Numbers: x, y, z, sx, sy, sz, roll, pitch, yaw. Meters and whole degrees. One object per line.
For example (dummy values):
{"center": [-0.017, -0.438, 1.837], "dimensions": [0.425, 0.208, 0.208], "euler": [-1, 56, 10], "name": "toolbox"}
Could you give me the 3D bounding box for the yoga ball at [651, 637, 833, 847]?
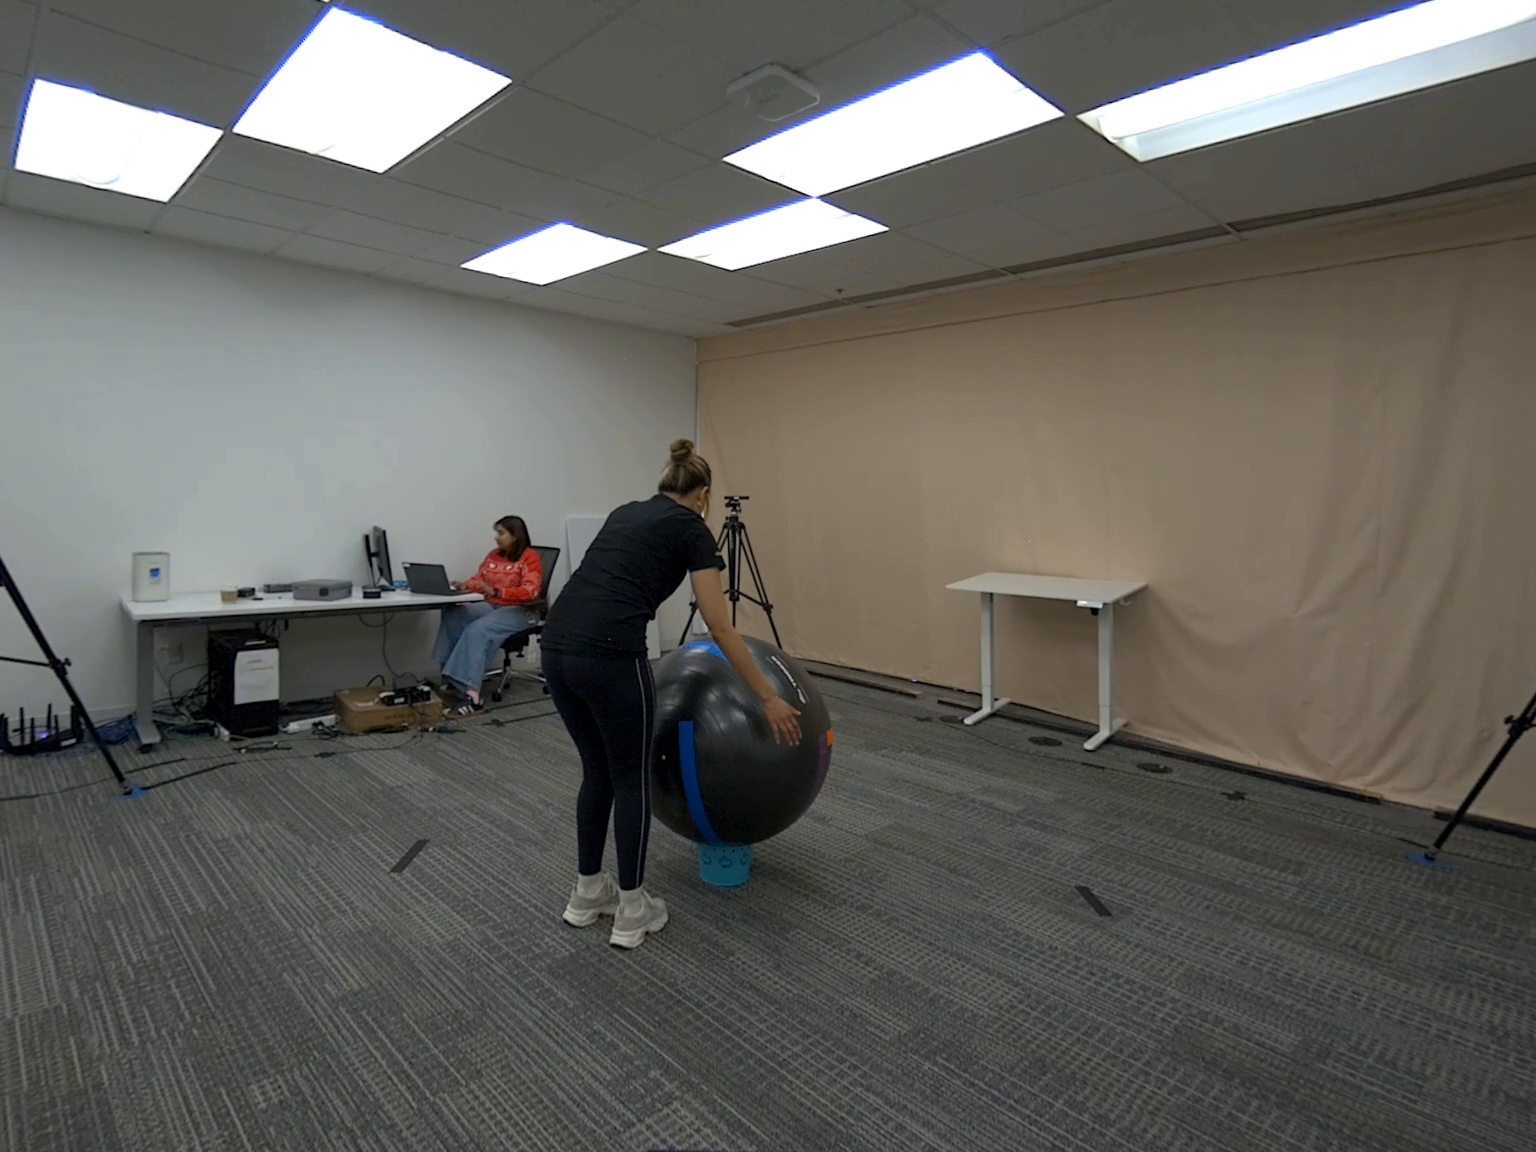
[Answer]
{"center": [-0.148, 0.597, 3.083], "dimensions": [0.757, 0.756, 0.761], "euler": [1, 4, -1], "name": "yoga ball"}
